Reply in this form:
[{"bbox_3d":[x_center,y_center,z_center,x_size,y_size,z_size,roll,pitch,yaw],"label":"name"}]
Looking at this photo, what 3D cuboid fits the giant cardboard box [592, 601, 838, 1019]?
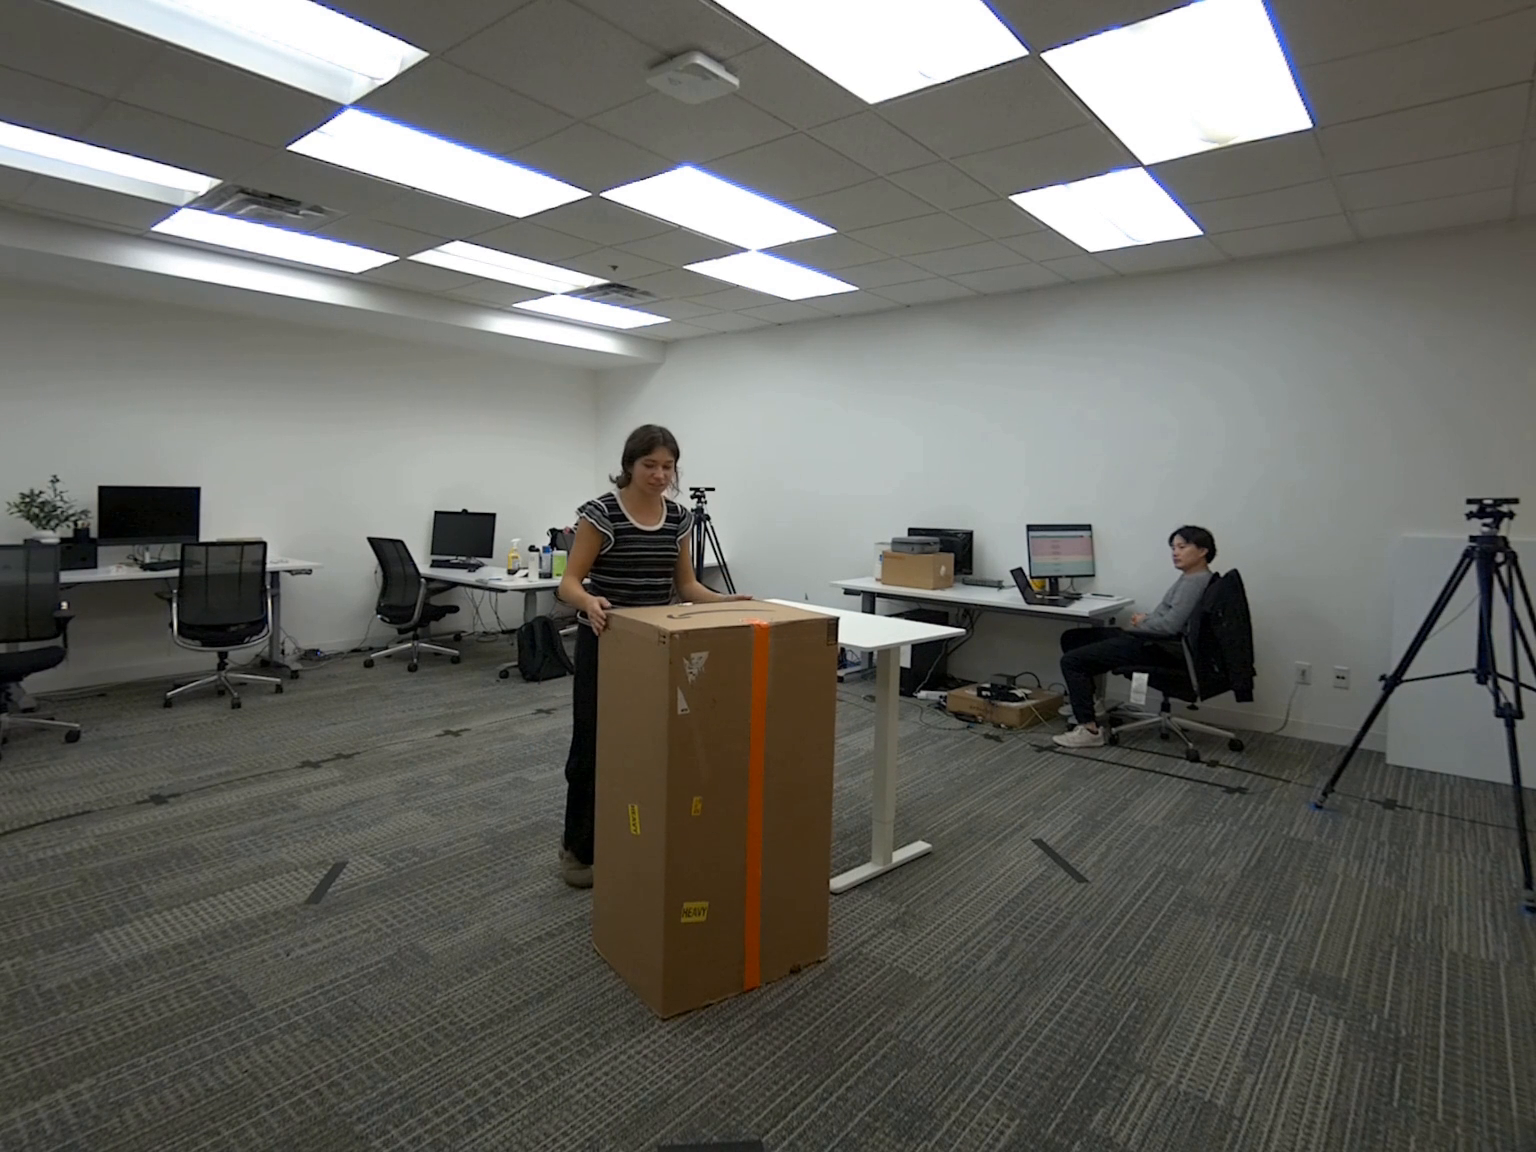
[{"bbox_3d":[-0.162,0.615,2.517,0.561,1.023,0.440,-1,3,-35],"label":"giant cardboard box"}]
